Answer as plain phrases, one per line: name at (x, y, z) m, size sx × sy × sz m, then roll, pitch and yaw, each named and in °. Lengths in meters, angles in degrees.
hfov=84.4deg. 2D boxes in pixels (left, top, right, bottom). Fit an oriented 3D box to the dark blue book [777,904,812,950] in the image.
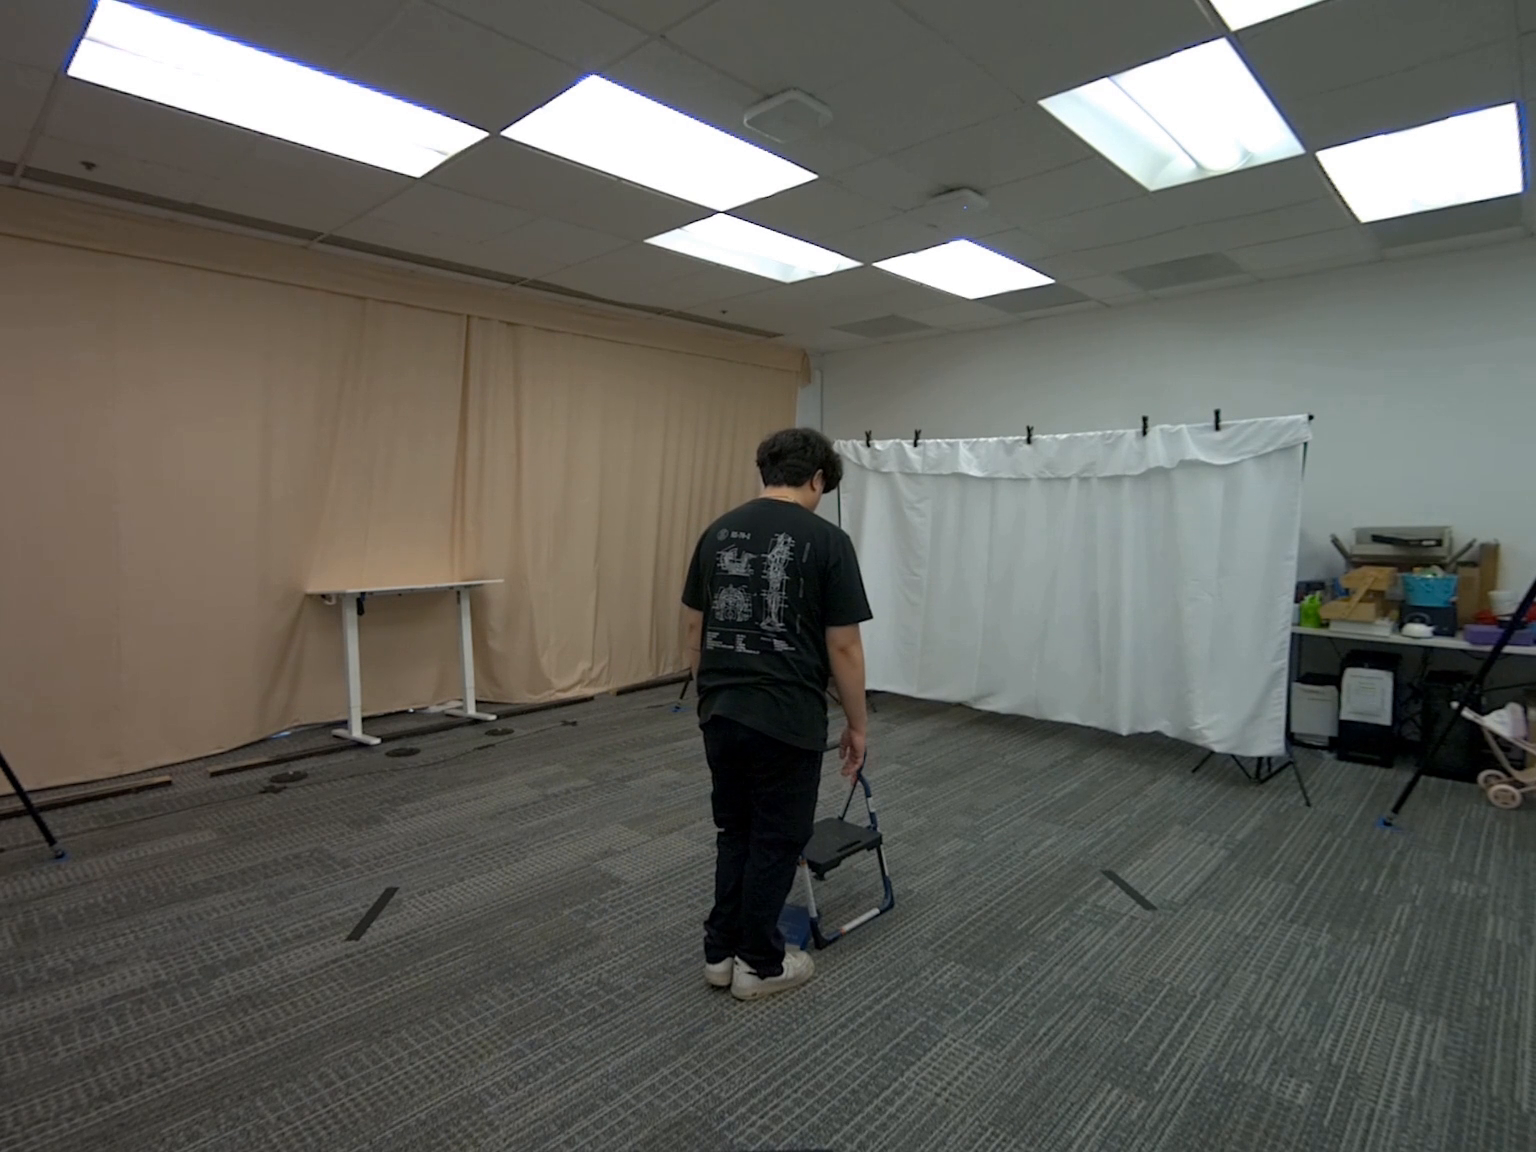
dark blue book at (0.077, 1.151, 2.728) m, size 0.167 × 0.045 × 0.240 m, roll 1°, pitch 5°, yaw 20°
